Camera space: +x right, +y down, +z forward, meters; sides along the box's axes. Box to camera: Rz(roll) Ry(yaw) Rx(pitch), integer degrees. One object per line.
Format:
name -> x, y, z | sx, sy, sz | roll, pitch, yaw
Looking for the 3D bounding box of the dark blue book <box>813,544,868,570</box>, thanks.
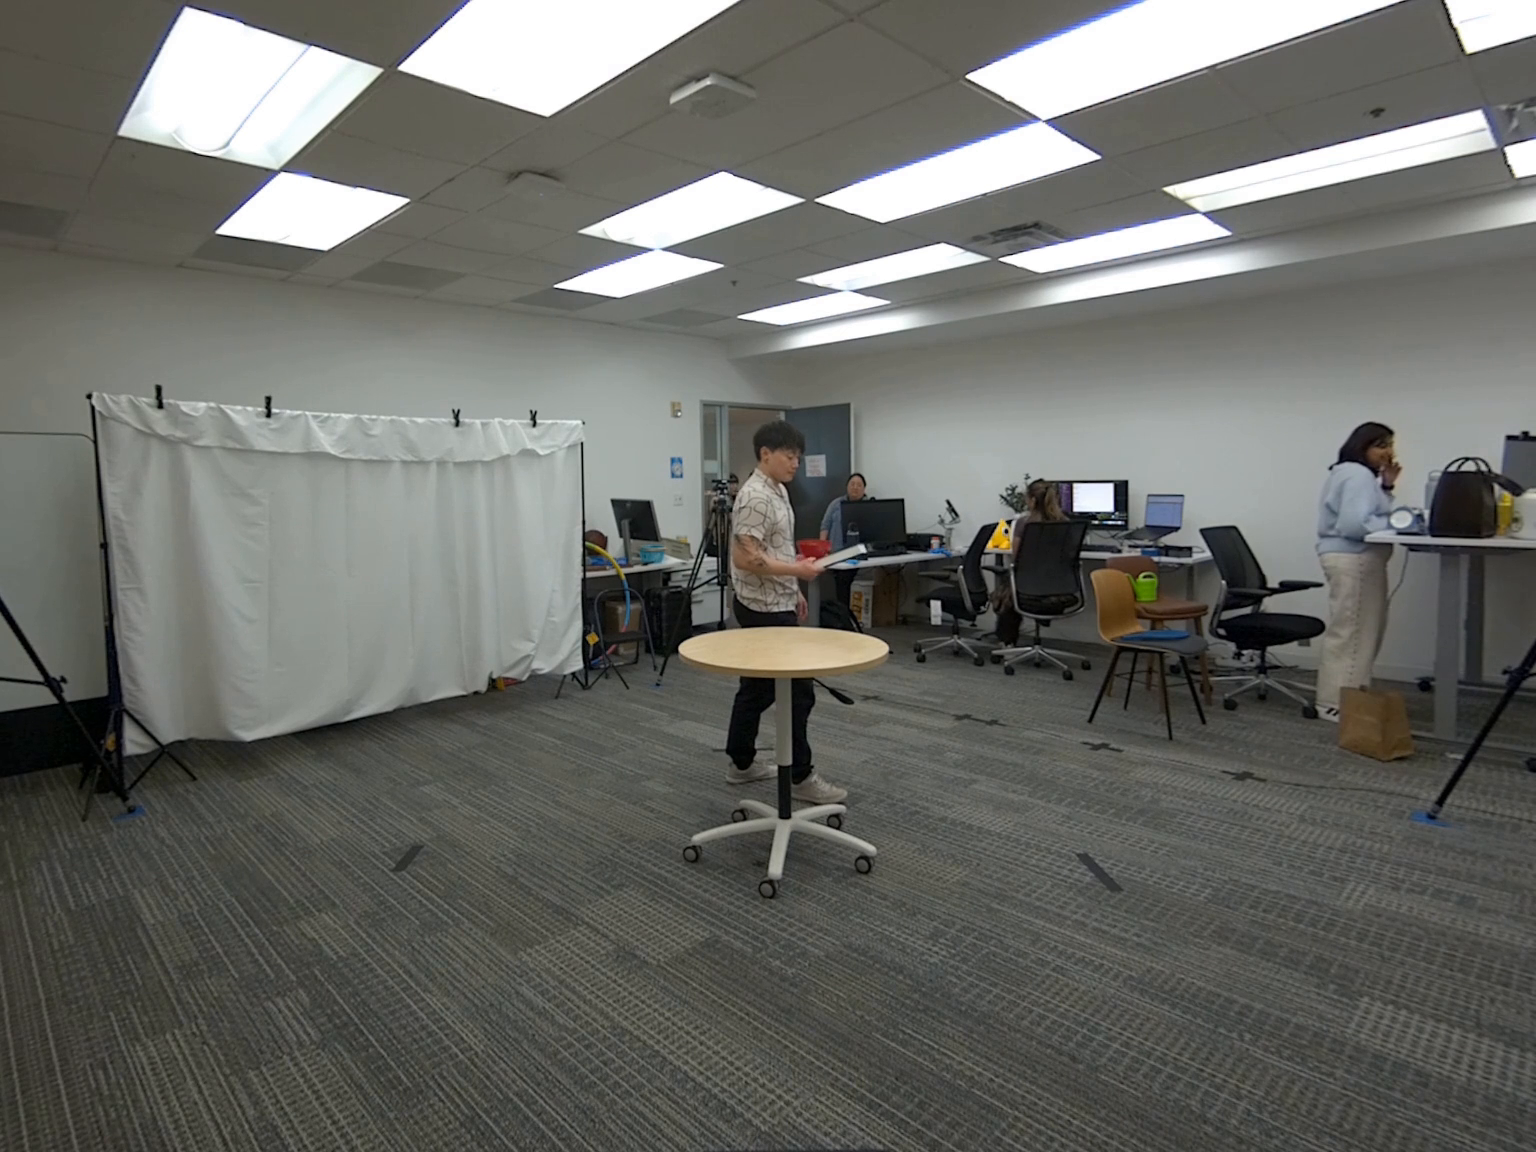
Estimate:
dark blue book -> 0.305, -0.081, 3.696 | 0.247, 0.045, 0.161 | -19, -4, 15
